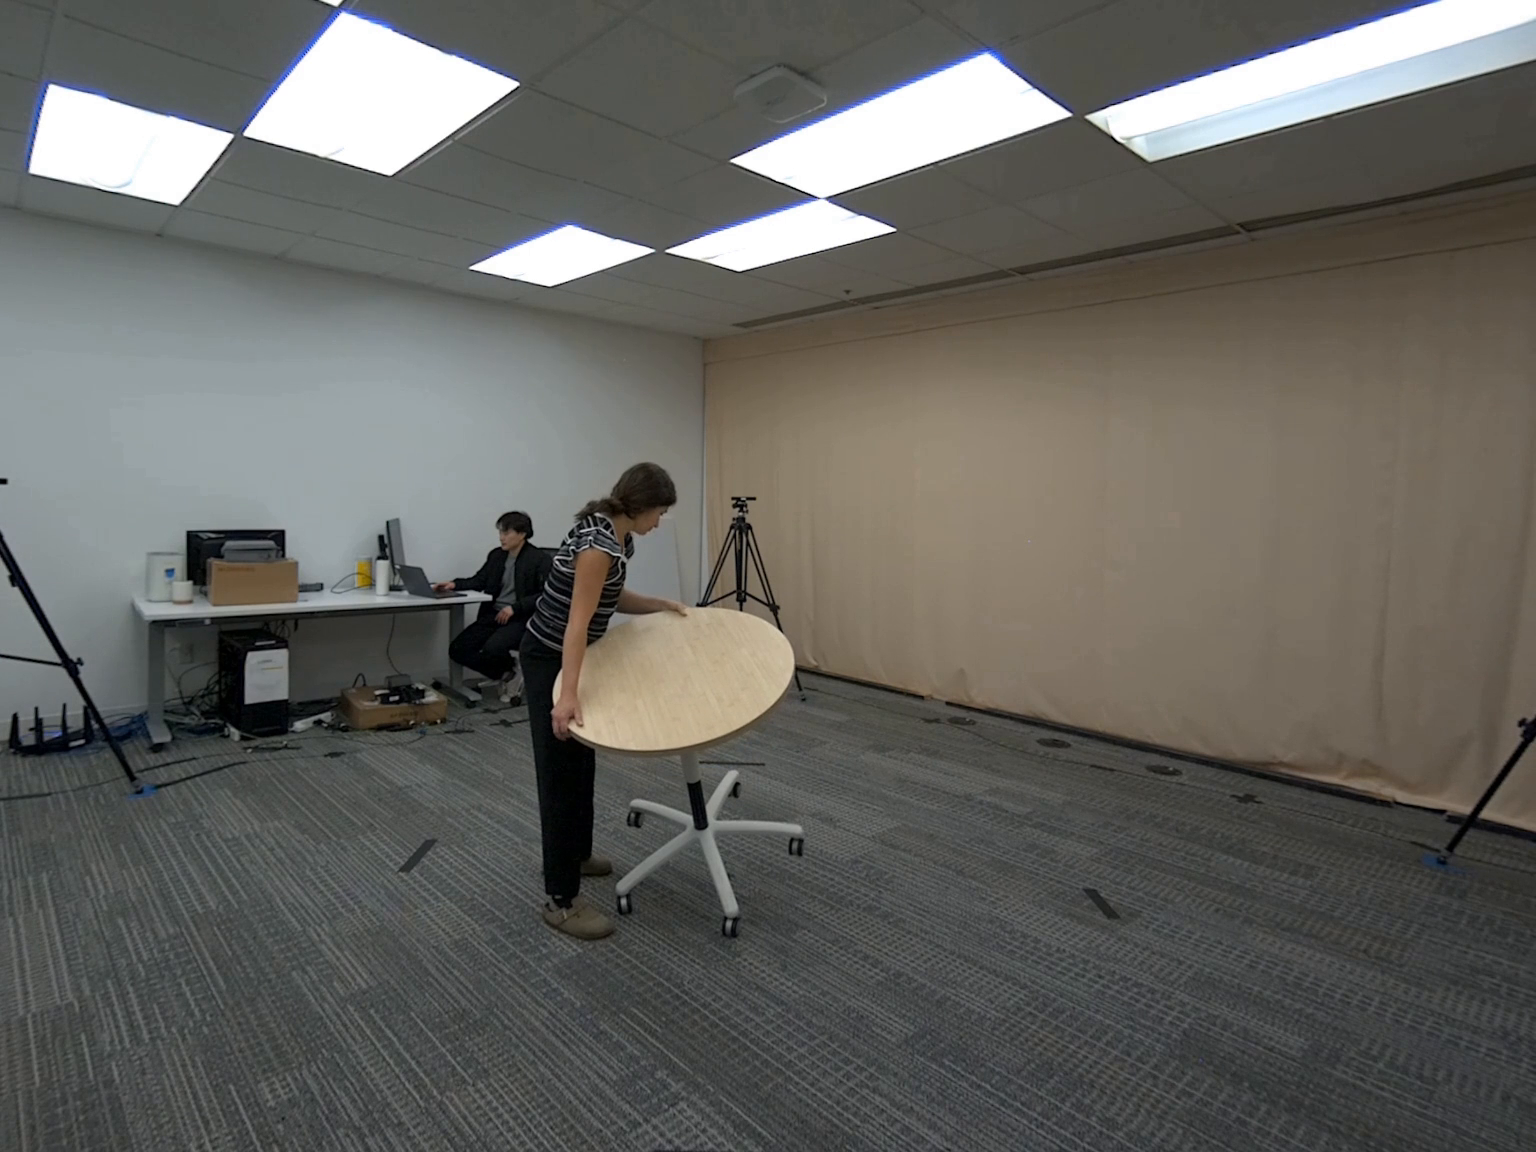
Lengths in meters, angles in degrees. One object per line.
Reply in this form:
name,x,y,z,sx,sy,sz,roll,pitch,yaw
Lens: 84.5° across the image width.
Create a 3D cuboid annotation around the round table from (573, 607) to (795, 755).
round table,-0.268,0.640,2.845,0.786,0.771,0.799,-5,27,1
